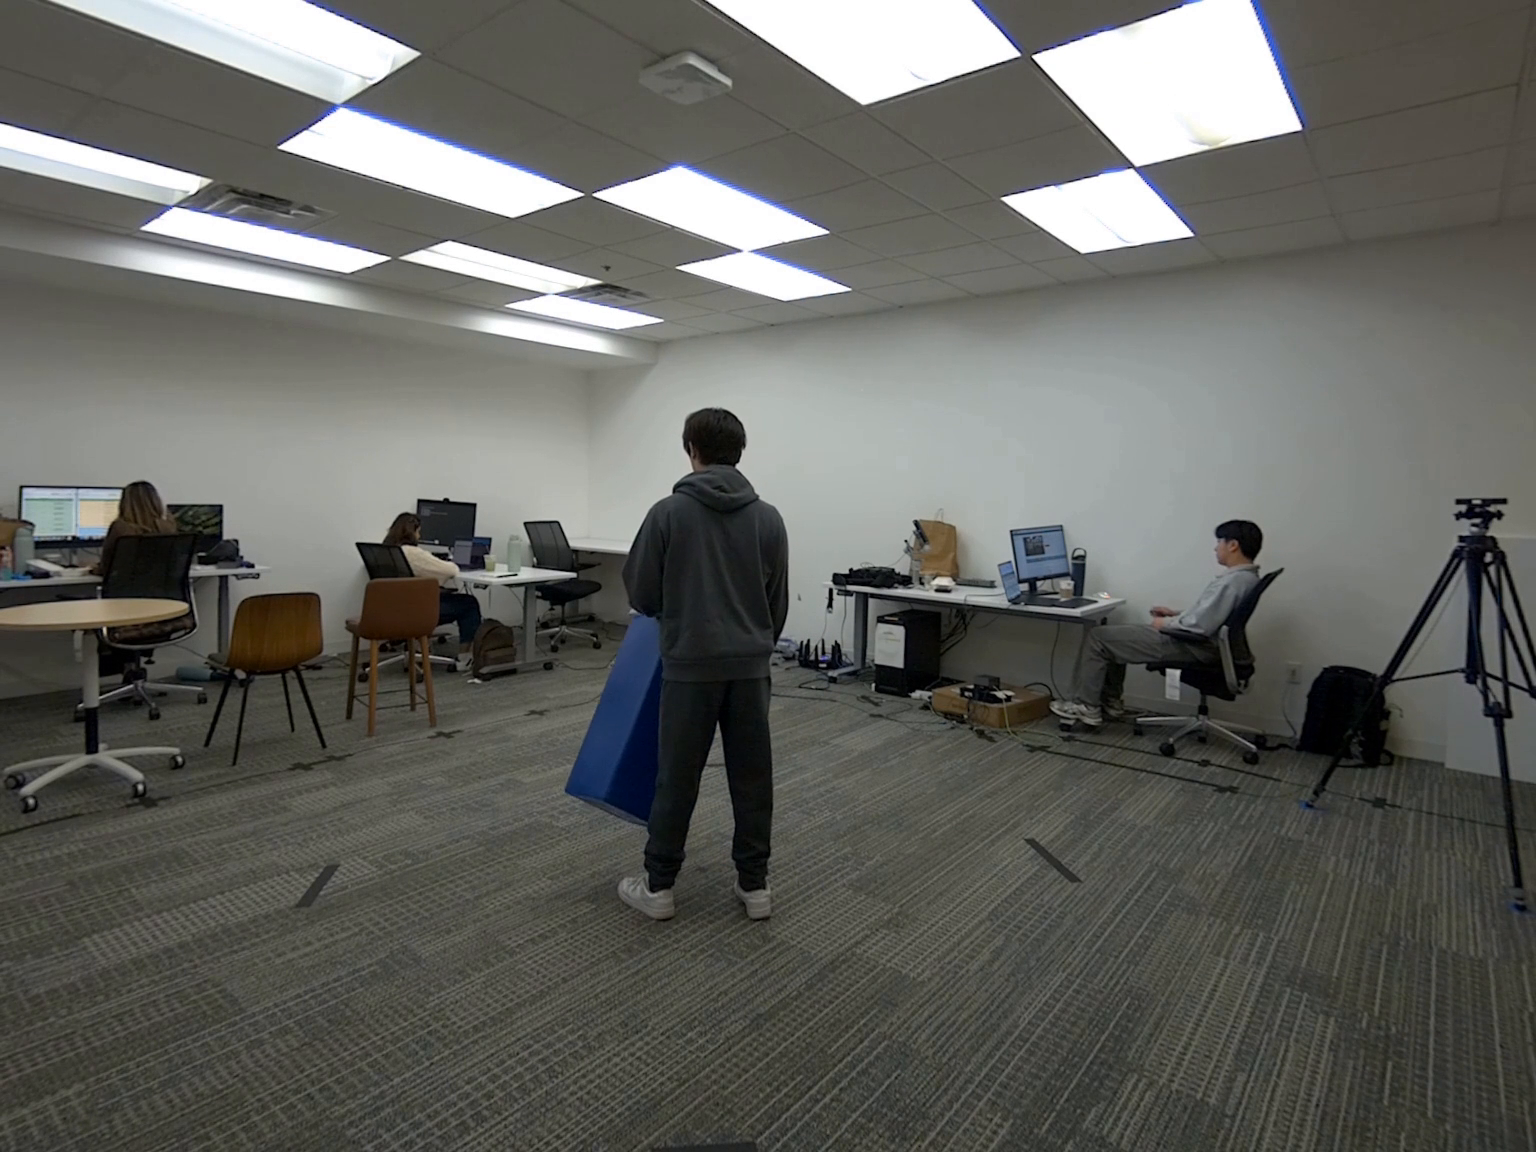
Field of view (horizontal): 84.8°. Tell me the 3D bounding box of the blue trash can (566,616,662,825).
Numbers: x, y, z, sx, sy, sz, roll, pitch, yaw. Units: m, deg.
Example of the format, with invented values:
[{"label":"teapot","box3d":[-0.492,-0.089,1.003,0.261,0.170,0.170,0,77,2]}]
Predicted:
[{"label":"blue trash can","box3d":[-0.425,0.503,3.094,0.365,0.721,0.383,35,-26,-29]}]
